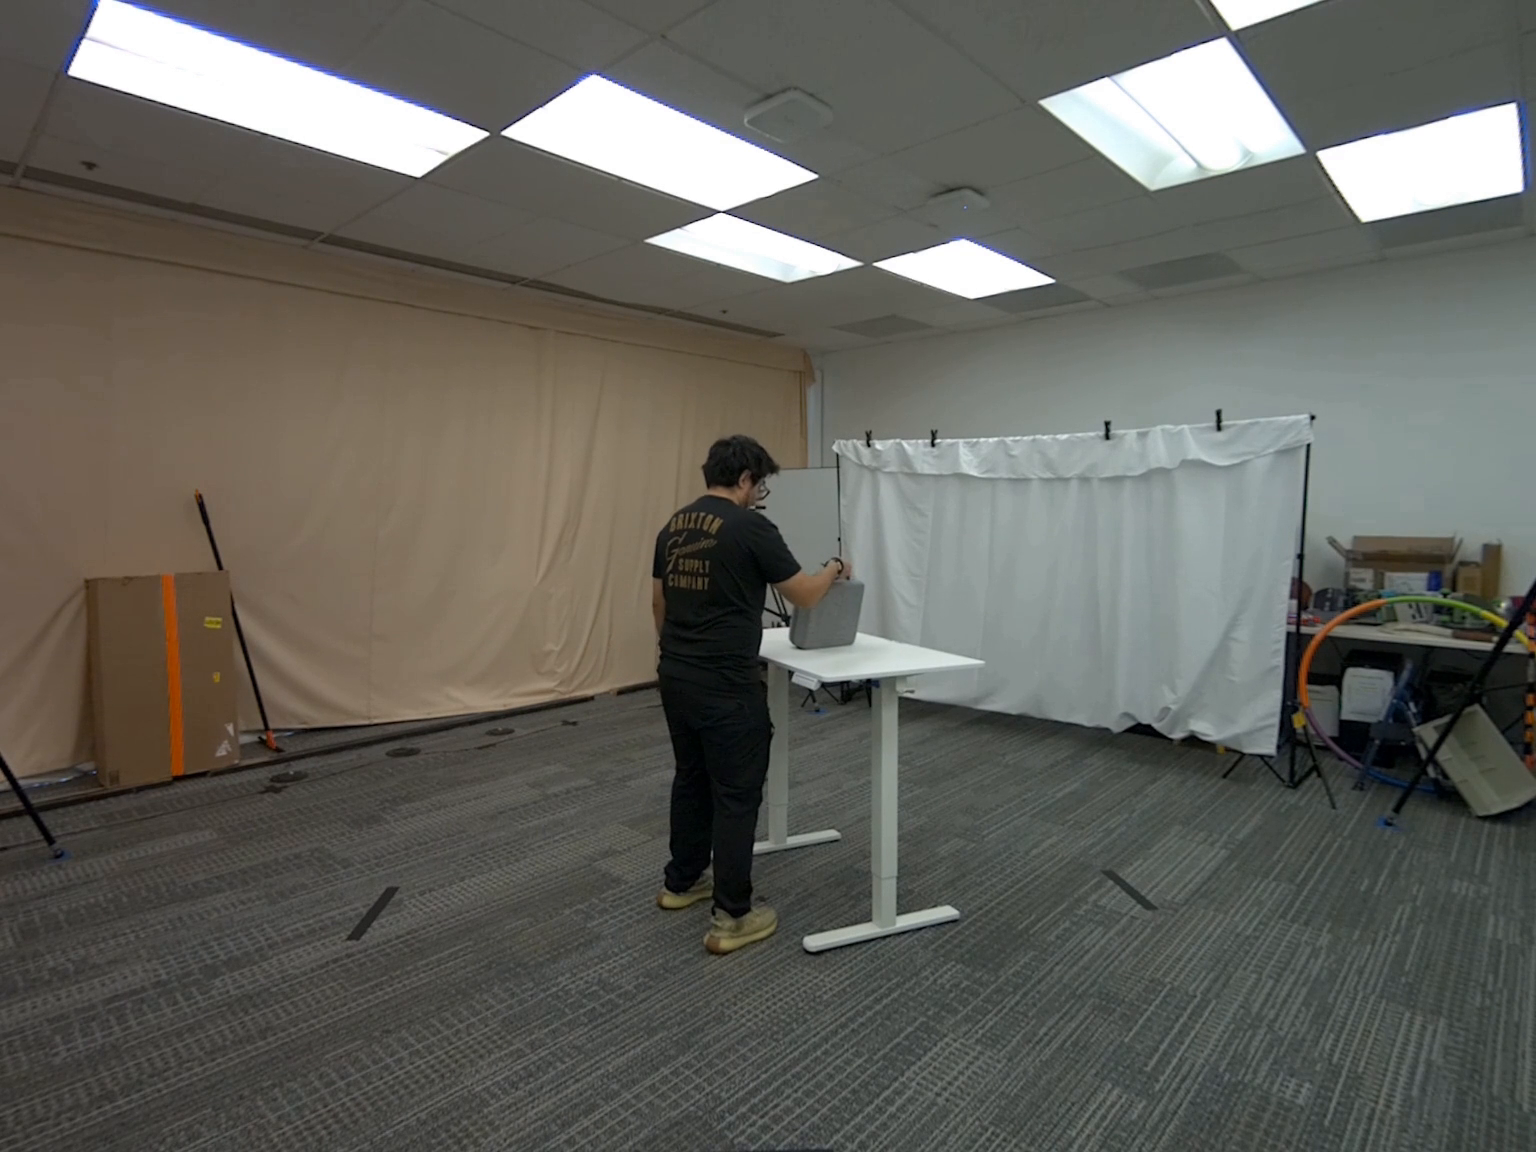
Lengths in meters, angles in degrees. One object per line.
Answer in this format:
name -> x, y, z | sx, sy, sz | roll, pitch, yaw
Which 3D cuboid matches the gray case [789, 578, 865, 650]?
gray case -> 0.227, 0.128, 3.024 | 0.250, 0.259, 0.108 | -2, 15, -31
